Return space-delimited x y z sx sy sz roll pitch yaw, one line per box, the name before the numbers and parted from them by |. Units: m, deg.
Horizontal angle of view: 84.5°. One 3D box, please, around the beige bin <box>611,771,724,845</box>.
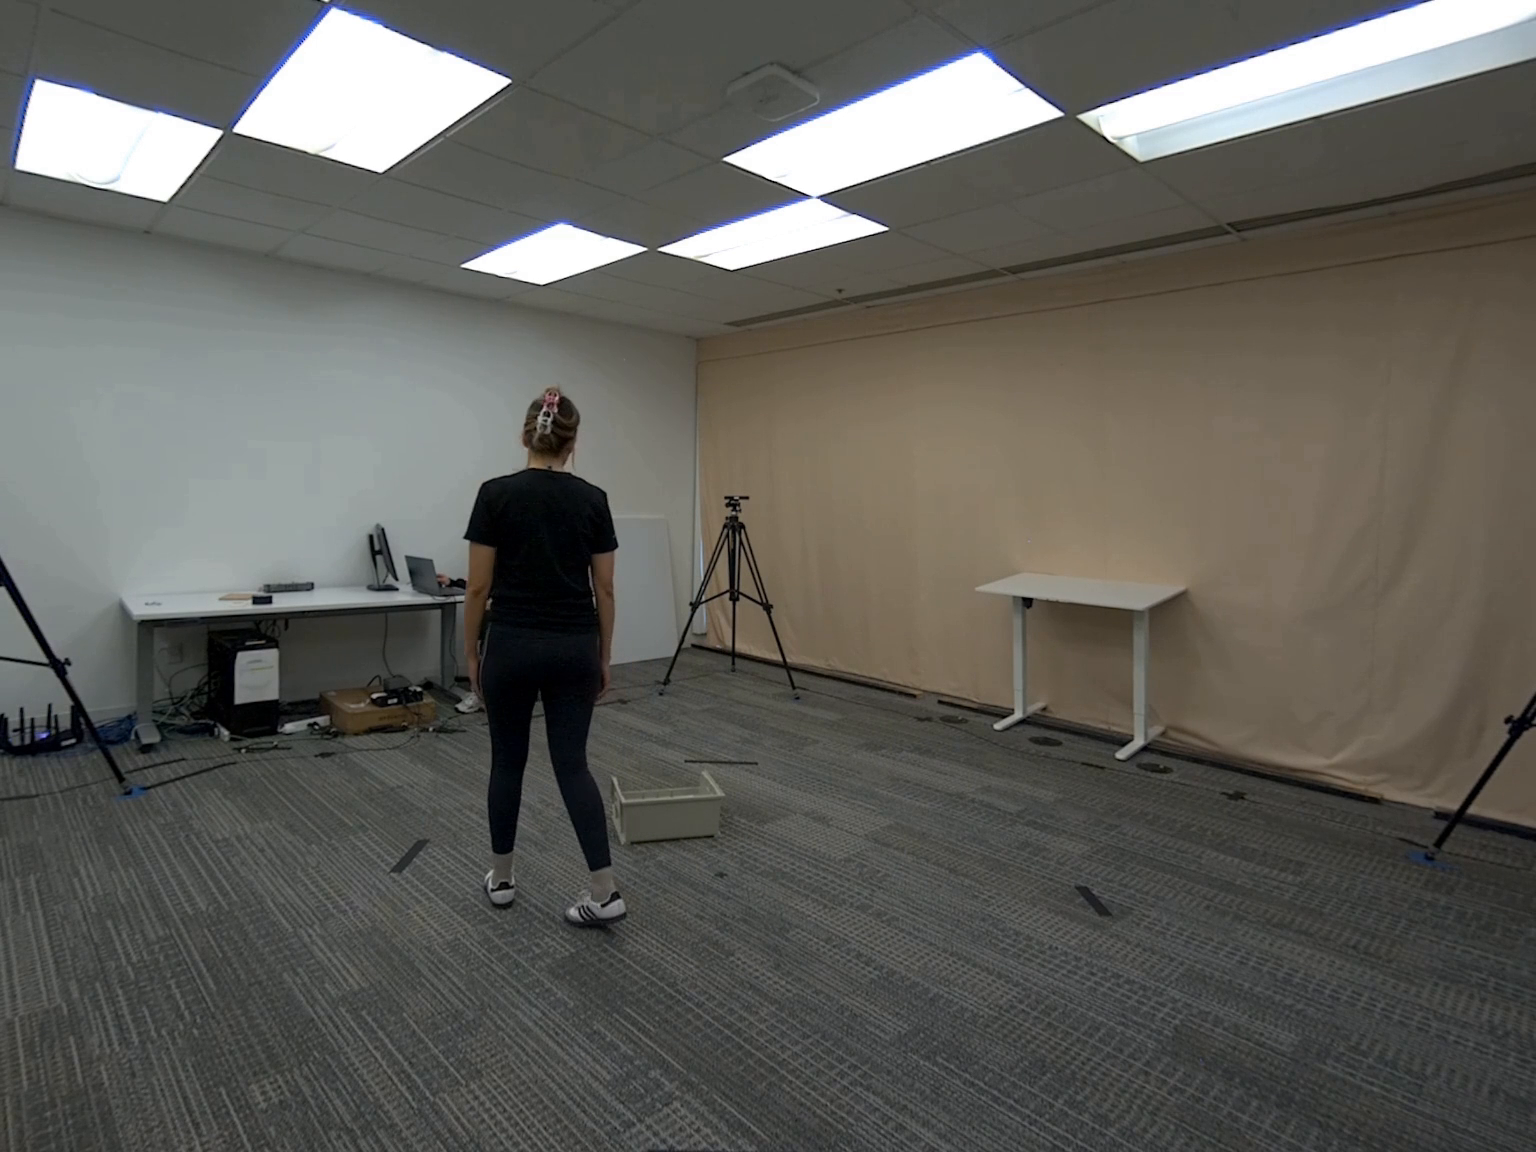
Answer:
beige bin | -0.445 0.968 3.566 0.417 0.188 0.383 0 6 -17
